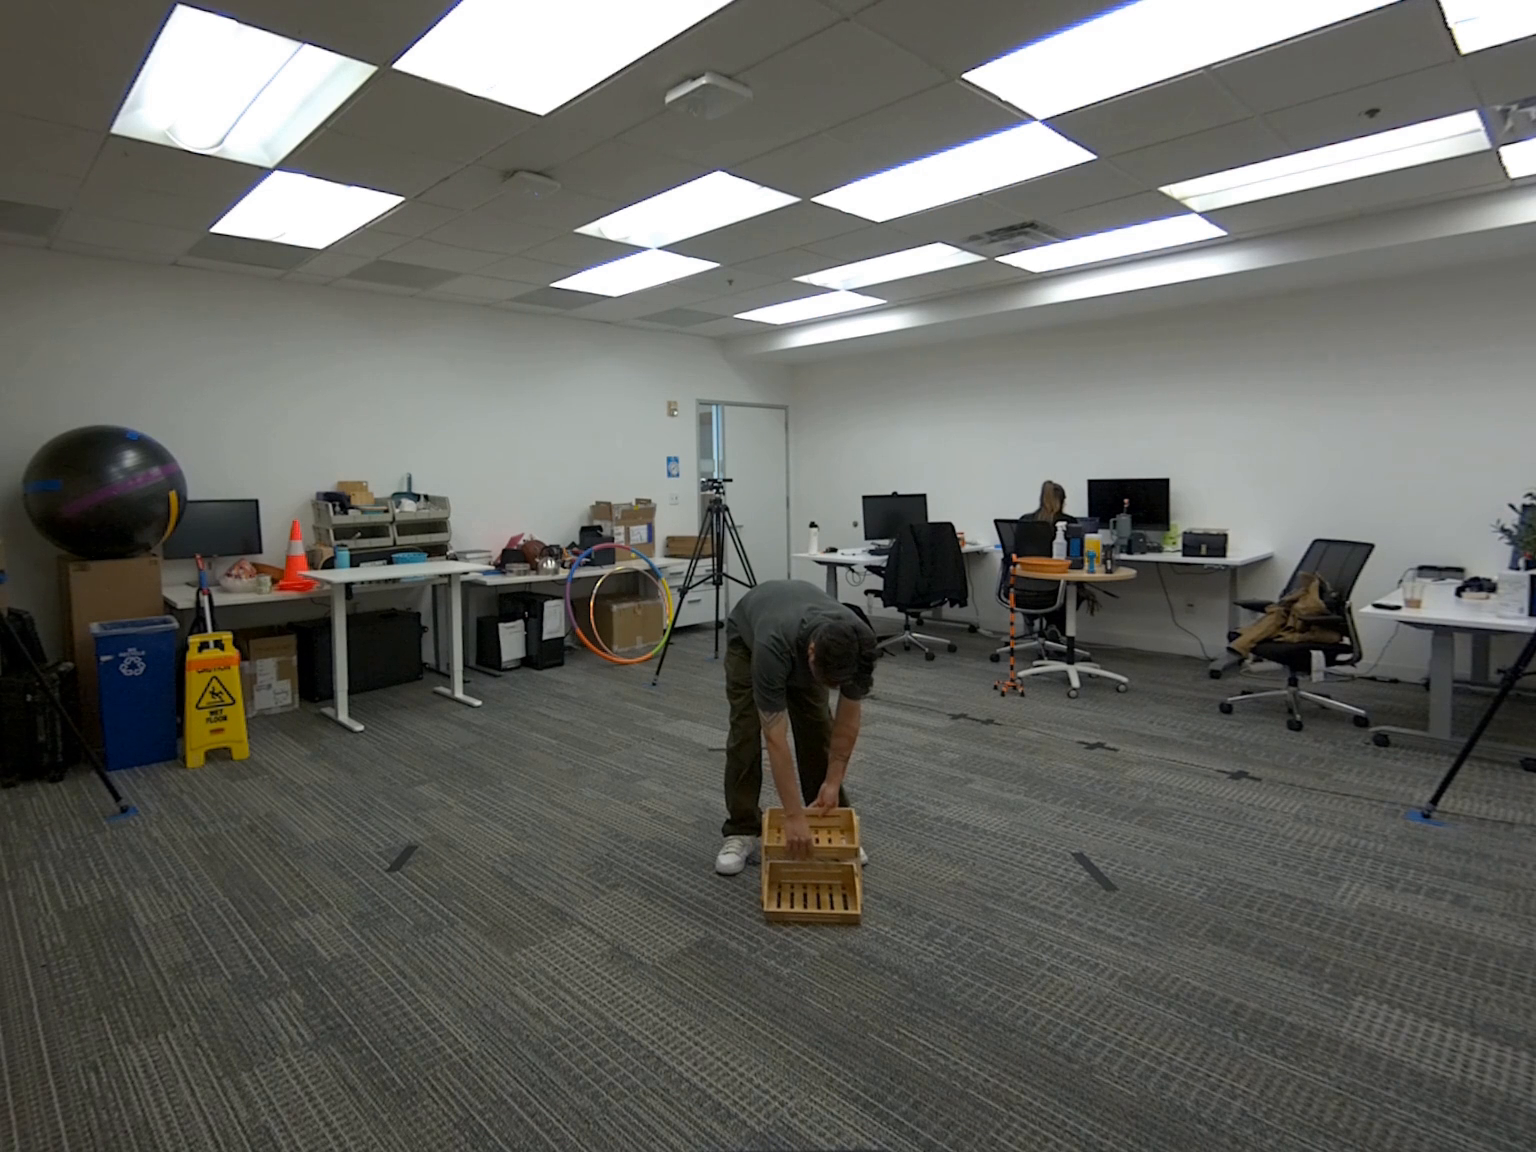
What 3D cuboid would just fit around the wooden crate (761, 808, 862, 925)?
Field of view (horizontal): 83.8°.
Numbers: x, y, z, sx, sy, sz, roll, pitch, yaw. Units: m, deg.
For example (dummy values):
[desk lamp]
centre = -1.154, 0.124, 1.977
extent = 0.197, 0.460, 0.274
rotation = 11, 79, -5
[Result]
[wooden crate]
centre = 0.144, 0.954, 2.793
extent = 0.326, 0.271, 0.303
rotation = 0, 8, 3
